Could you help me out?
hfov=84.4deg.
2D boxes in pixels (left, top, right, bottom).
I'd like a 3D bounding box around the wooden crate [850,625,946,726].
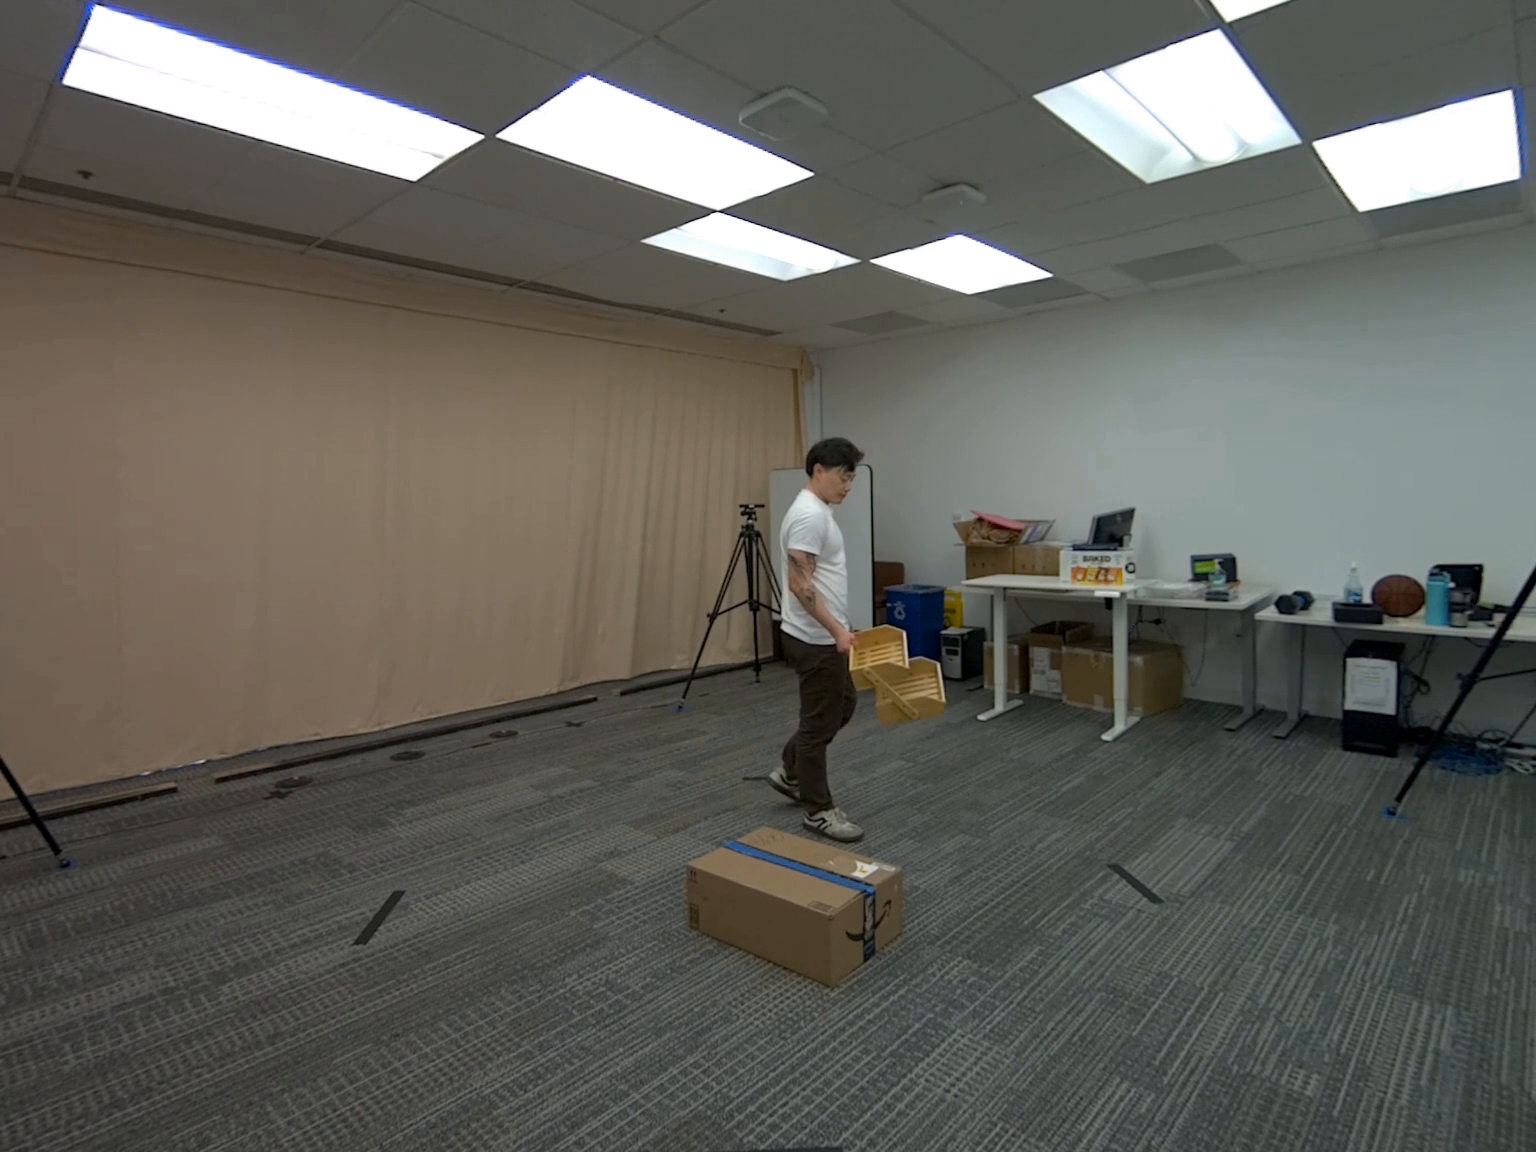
[{"bbox_3d":[0.509,0.363,3.241,0.305,0.269,0.326,-16,18,12],"label":"wooden crate"}]
